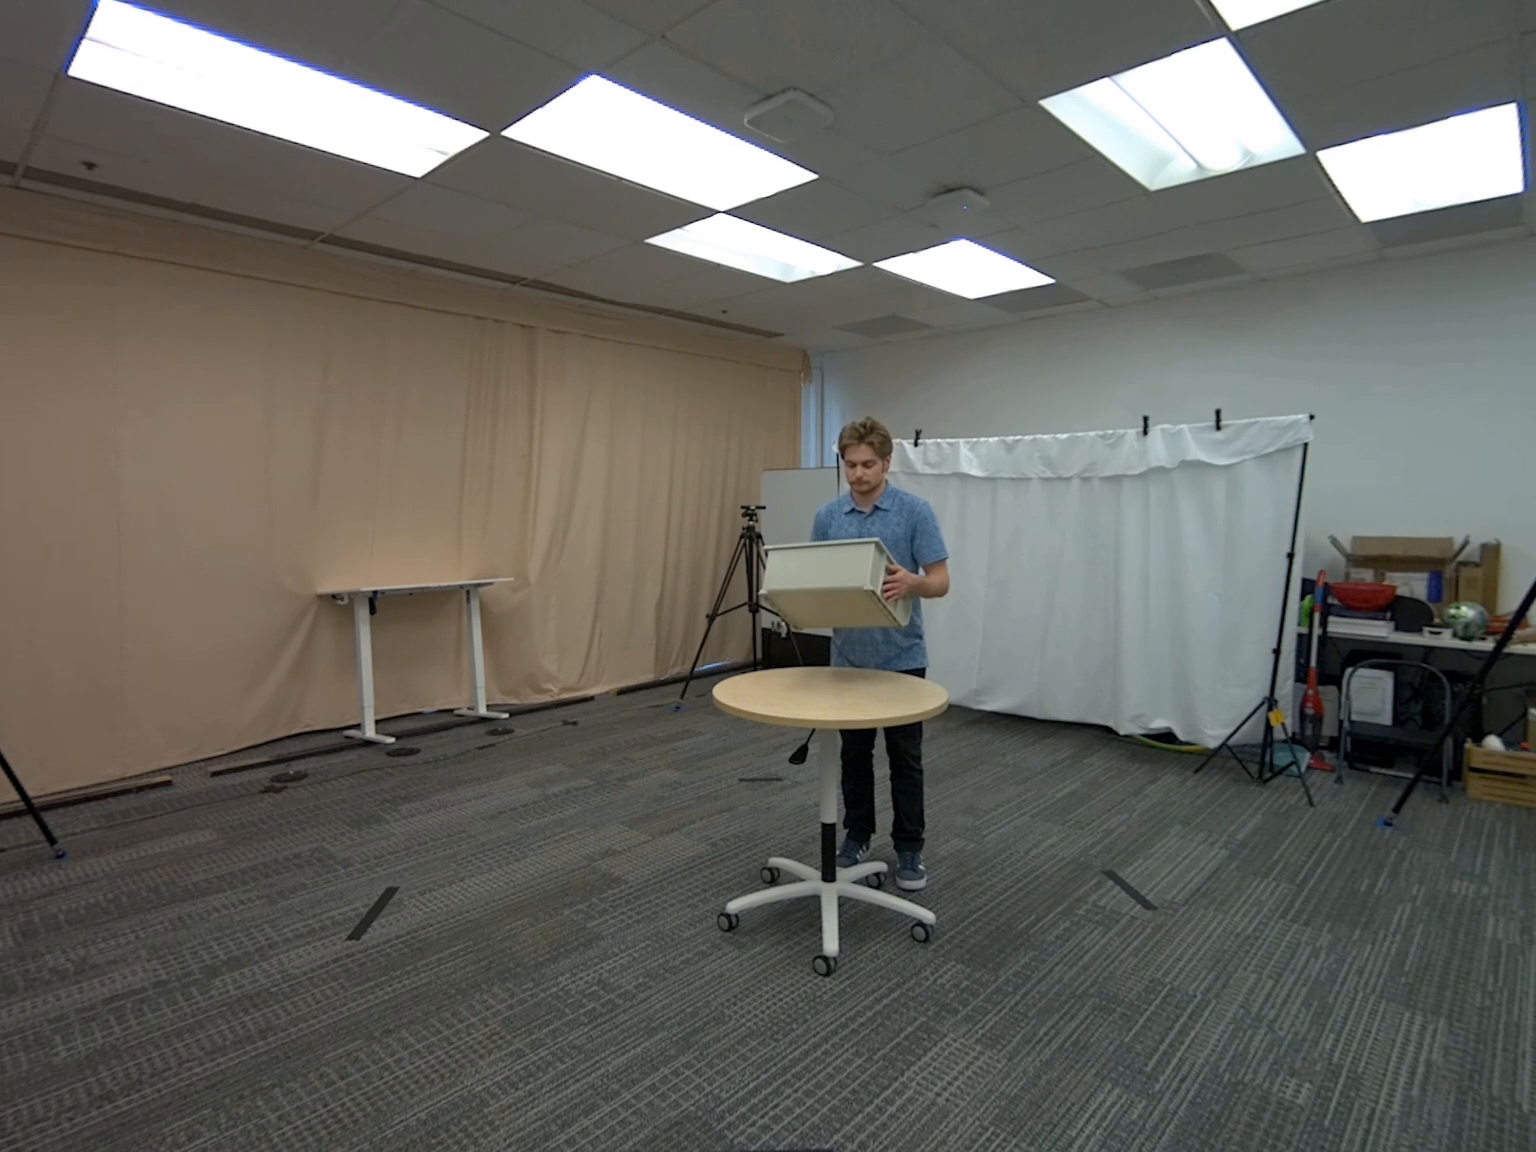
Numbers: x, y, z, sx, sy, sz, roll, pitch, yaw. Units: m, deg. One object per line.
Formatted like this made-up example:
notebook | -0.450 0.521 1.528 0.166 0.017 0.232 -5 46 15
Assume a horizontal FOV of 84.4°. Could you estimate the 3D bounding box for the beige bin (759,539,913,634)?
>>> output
beige bin | 0.237 0.053 2.913 0.434 0.190 0.364 -2 -28 29
